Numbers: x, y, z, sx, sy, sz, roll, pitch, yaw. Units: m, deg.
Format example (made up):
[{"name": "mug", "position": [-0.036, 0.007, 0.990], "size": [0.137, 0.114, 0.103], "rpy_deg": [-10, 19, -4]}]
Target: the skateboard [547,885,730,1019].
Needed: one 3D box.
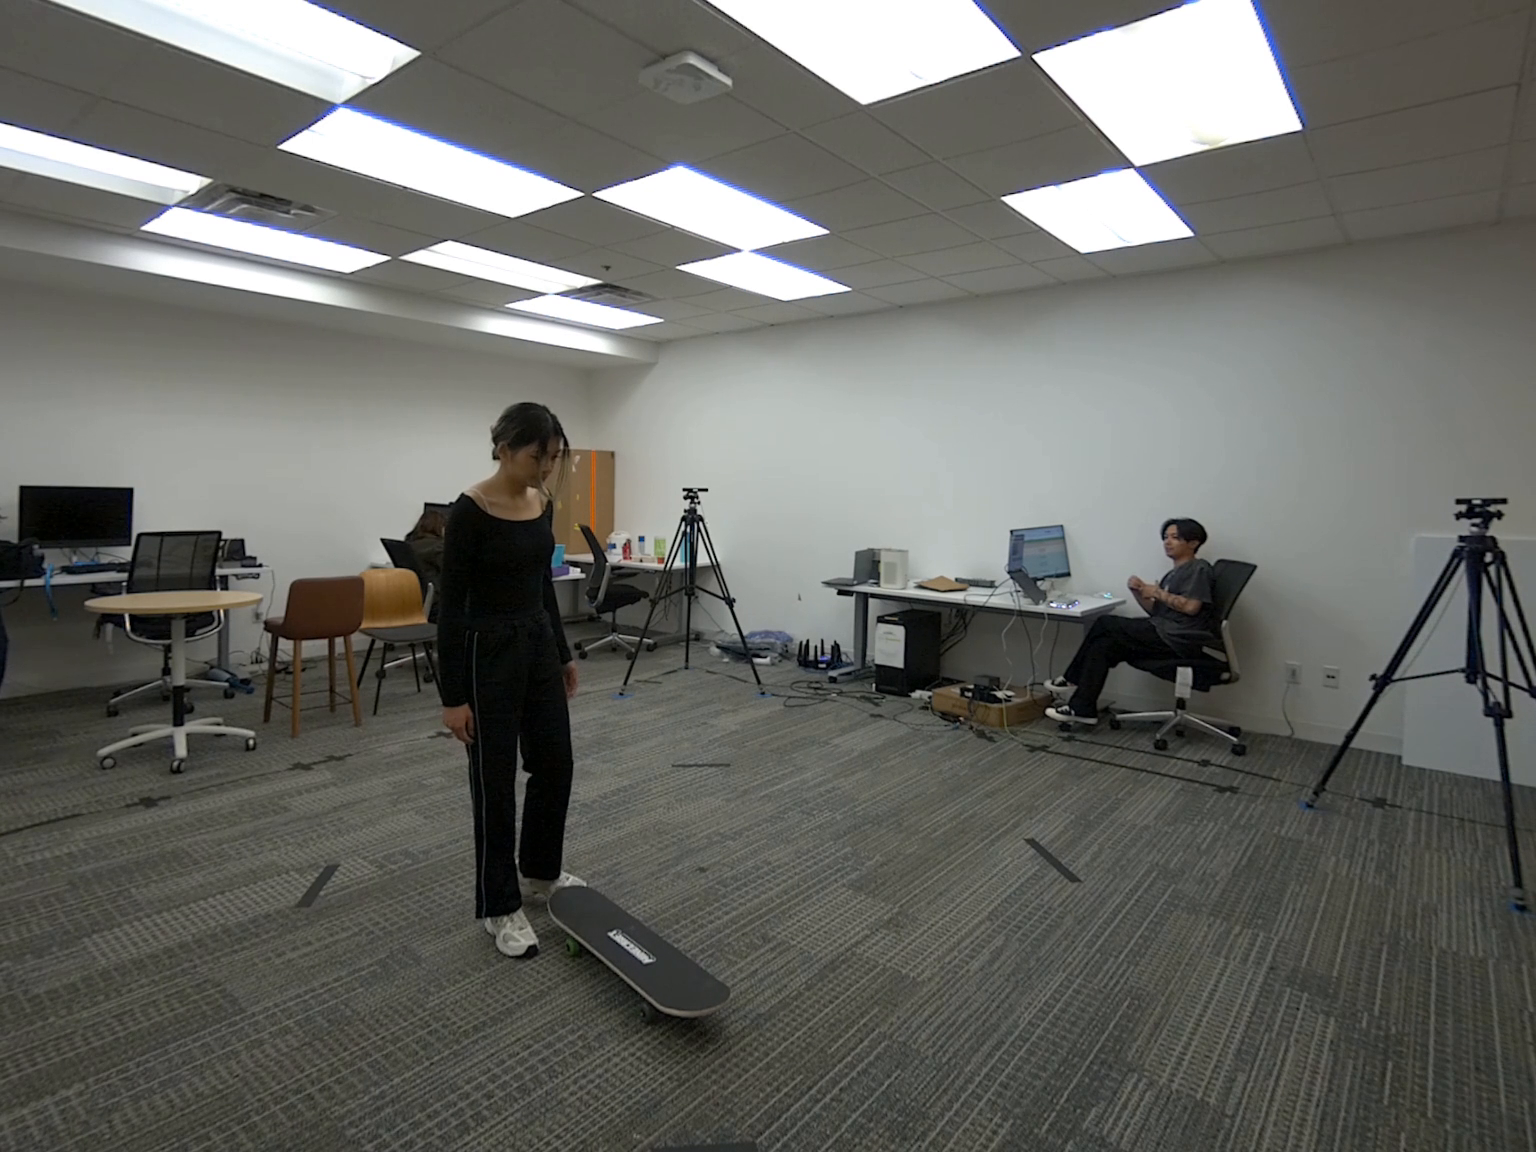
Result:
[{"name": "skateboard", "position": [-0.397, 1.079, 2.410], "size": [0.188, 0.110, 0.812], "rpy_deg": [-4, 7, -40]}]
